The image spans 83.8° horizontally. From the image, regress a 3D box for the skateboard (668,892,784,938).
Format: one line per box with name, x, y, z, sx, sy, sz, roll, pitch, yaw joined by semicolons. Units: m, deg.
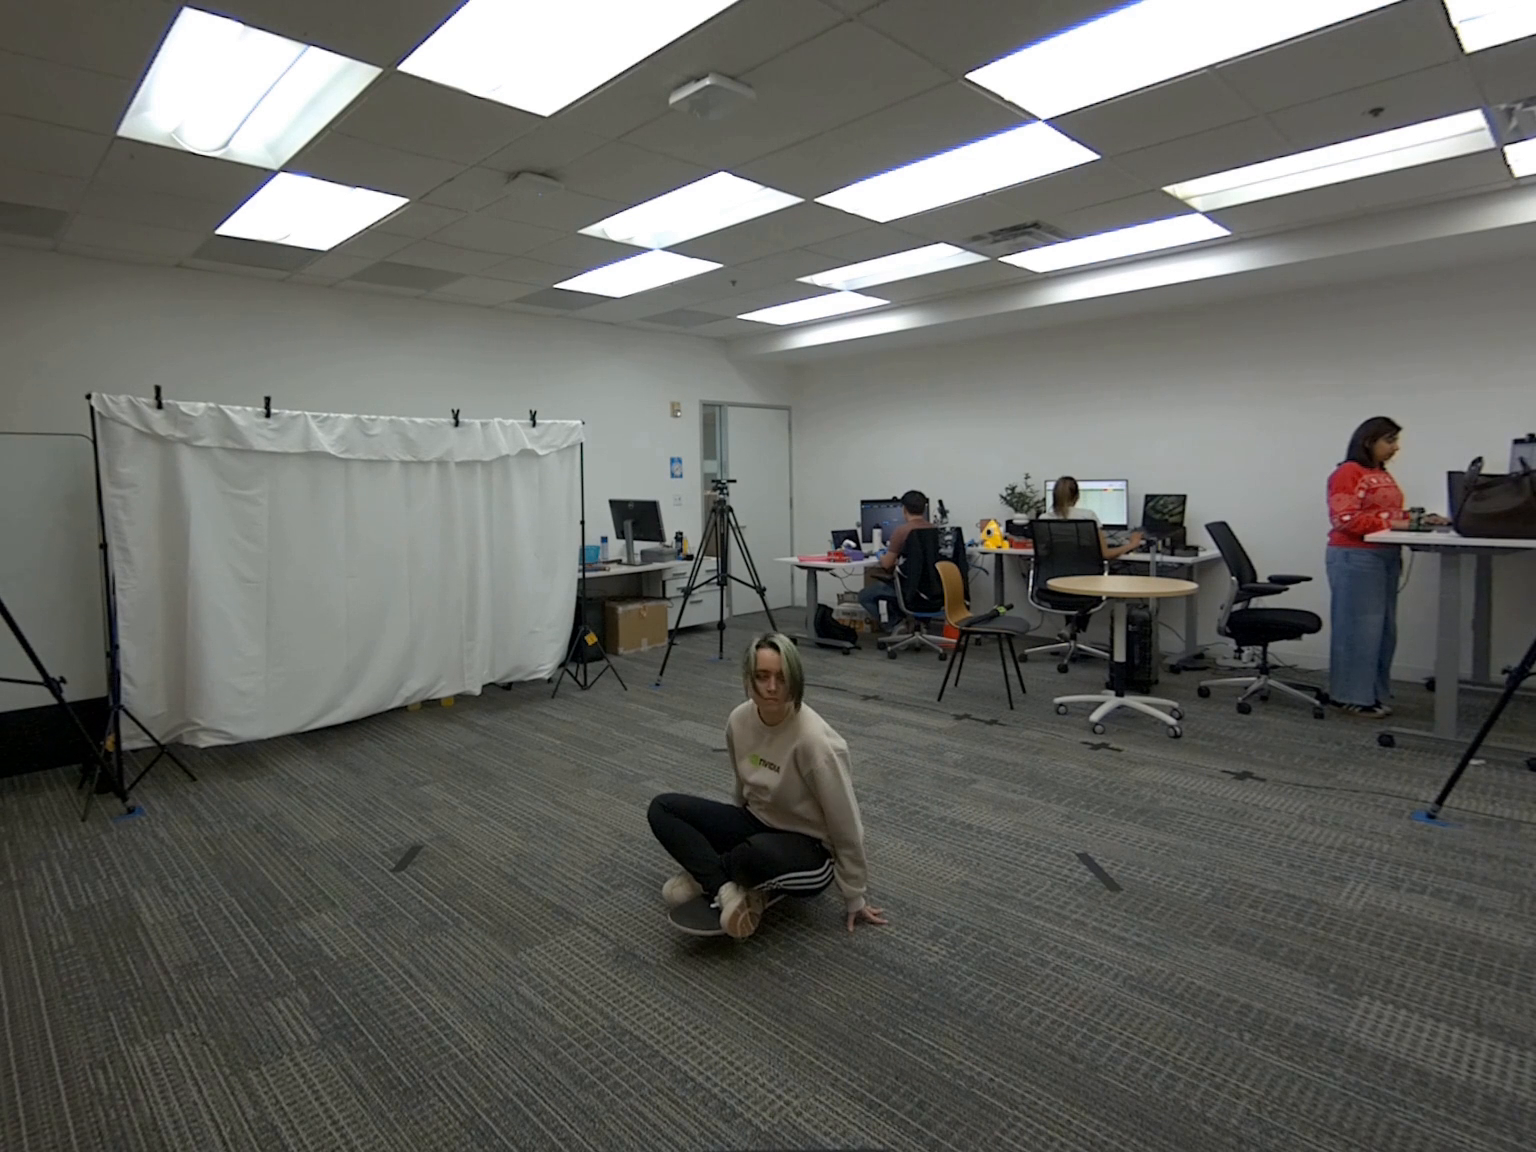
skateboard;-0.022;1.033;2.762;0.199;0.110;0.765;6;8;37
